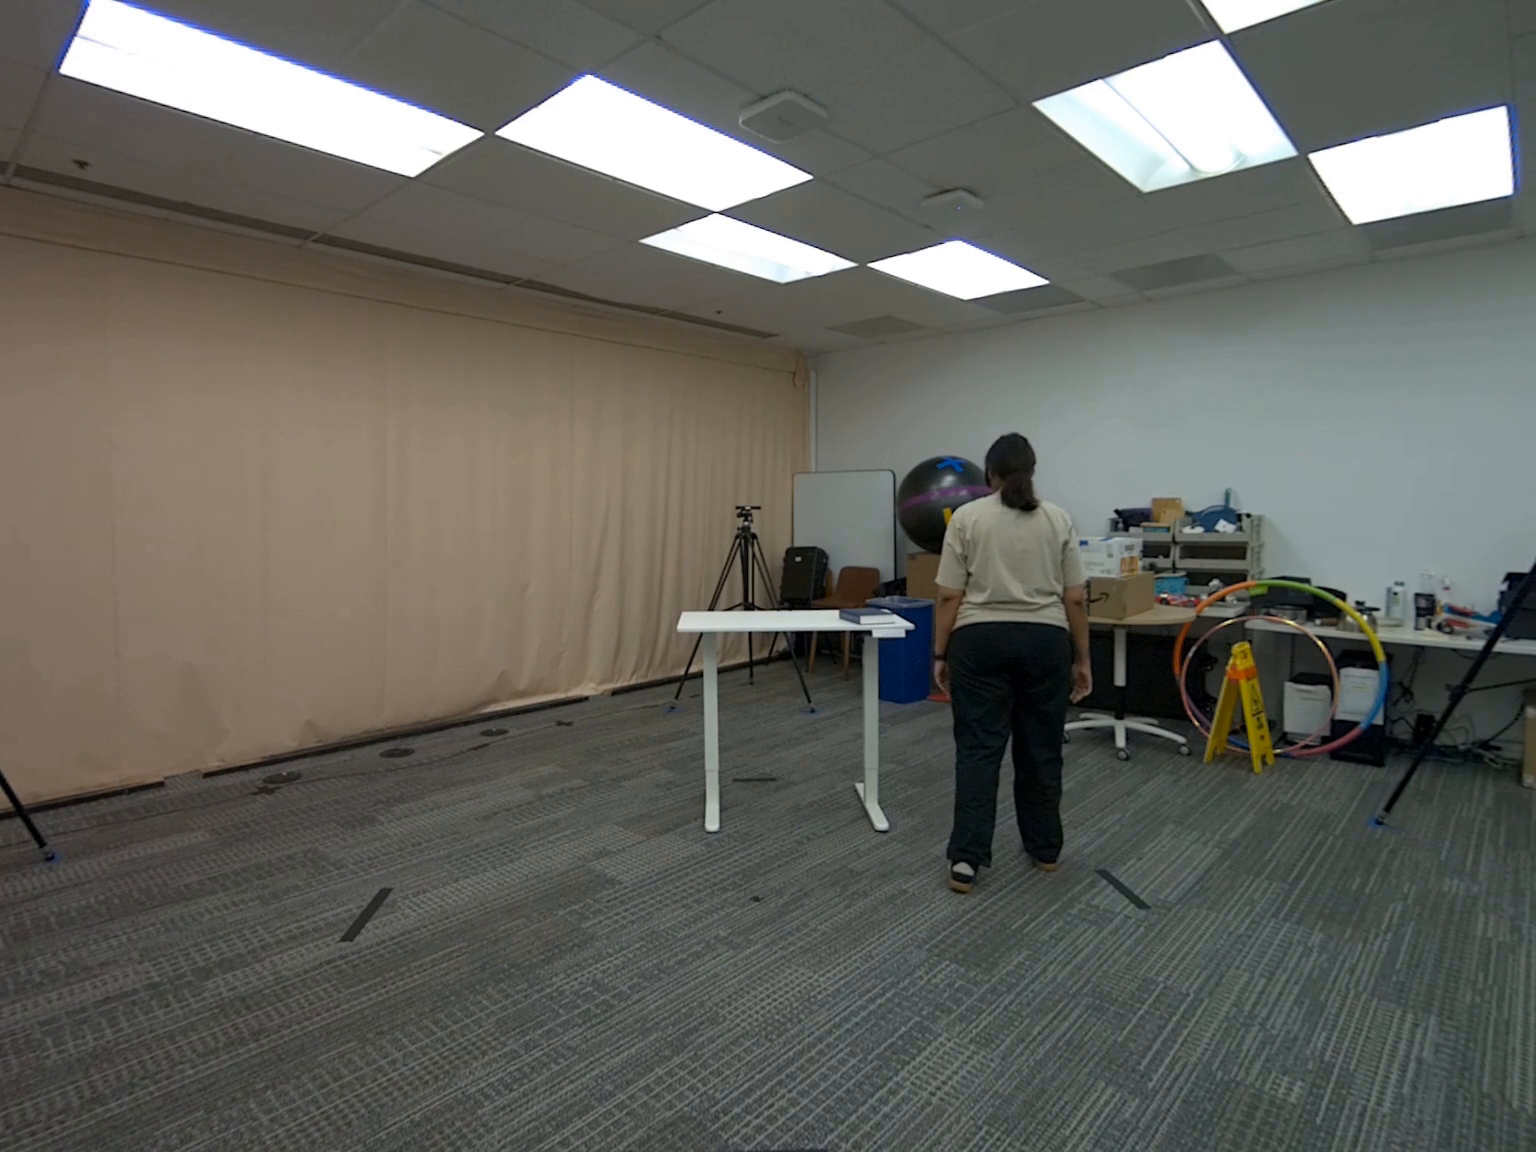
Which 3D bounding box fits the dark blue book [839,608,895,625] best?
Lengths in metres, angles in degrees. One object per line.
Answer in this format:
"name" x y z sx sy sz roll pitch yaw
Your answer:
"dark blue book" 0.438 0.178 3.722 0.161 0.045 0.249 -2 4 -15
